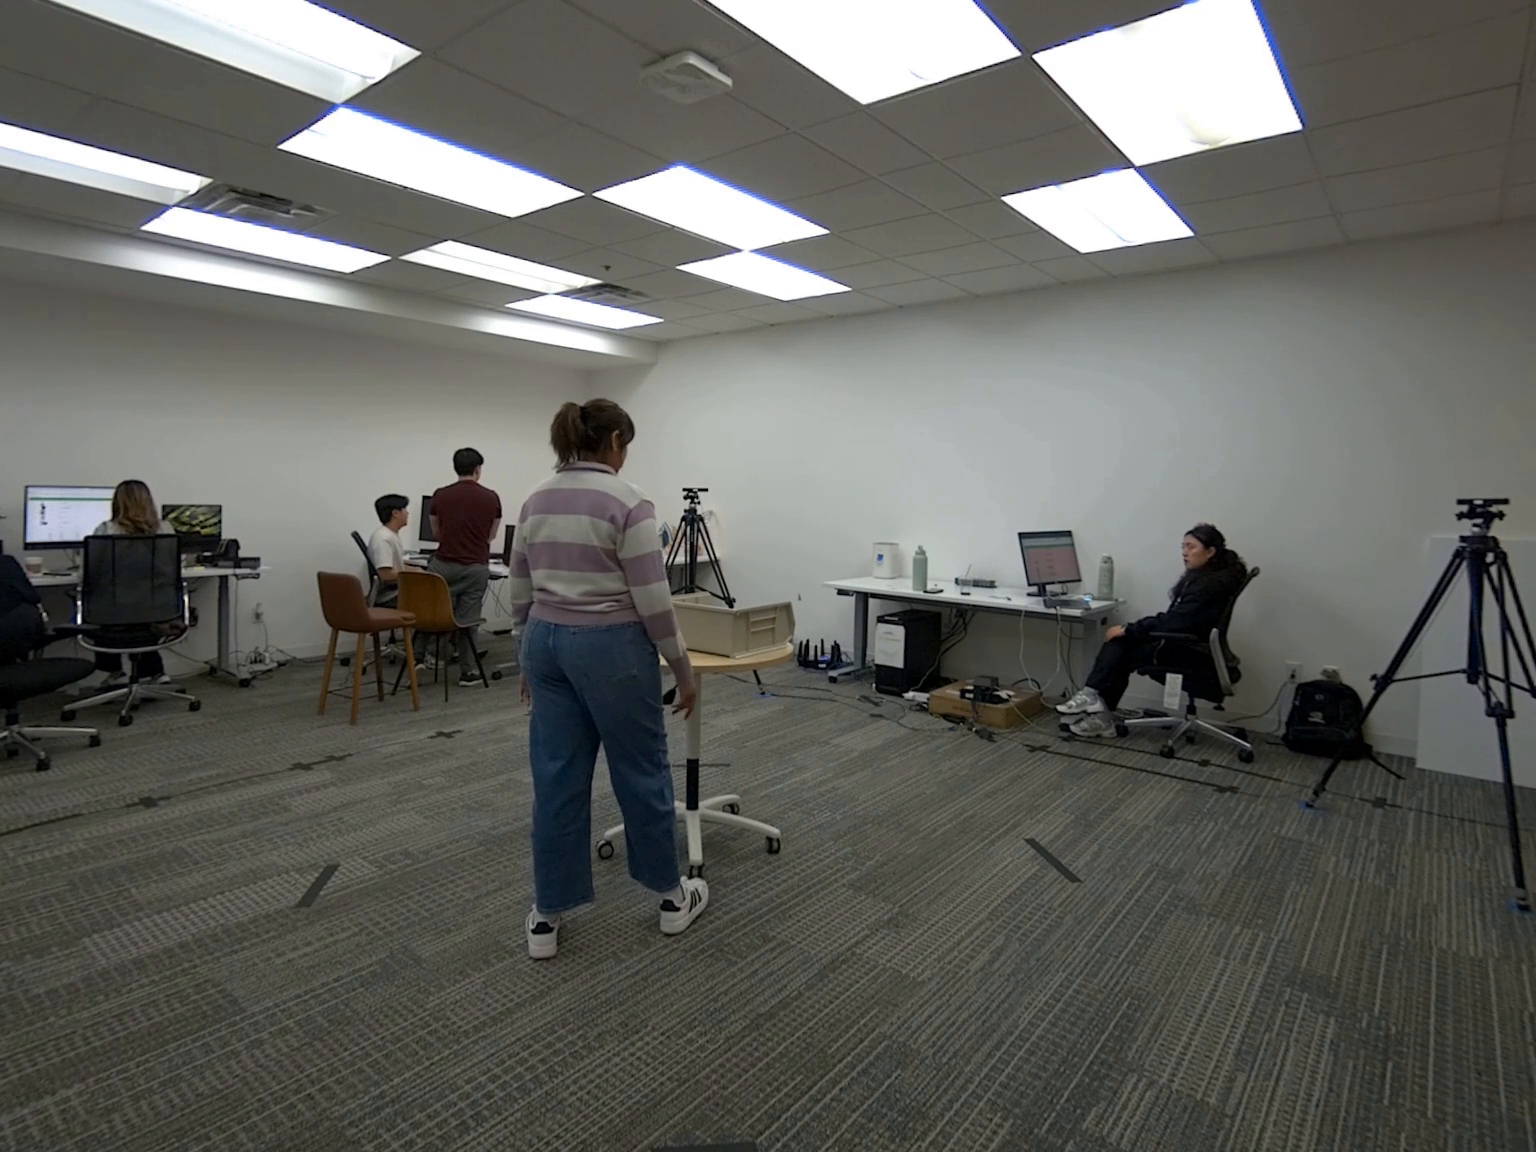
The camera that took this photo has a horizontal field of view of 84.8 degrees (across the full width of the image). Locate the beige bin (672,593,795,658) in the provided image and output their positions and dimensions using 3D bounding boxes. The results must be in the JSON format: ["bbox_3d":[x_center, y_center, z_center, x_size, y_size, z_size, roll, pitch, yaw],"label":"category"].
[{"bbox_3d":[-0.182,0.180,3.295,0.436,0.188,0.367,6,8,38],"label":"beige bin"}]
